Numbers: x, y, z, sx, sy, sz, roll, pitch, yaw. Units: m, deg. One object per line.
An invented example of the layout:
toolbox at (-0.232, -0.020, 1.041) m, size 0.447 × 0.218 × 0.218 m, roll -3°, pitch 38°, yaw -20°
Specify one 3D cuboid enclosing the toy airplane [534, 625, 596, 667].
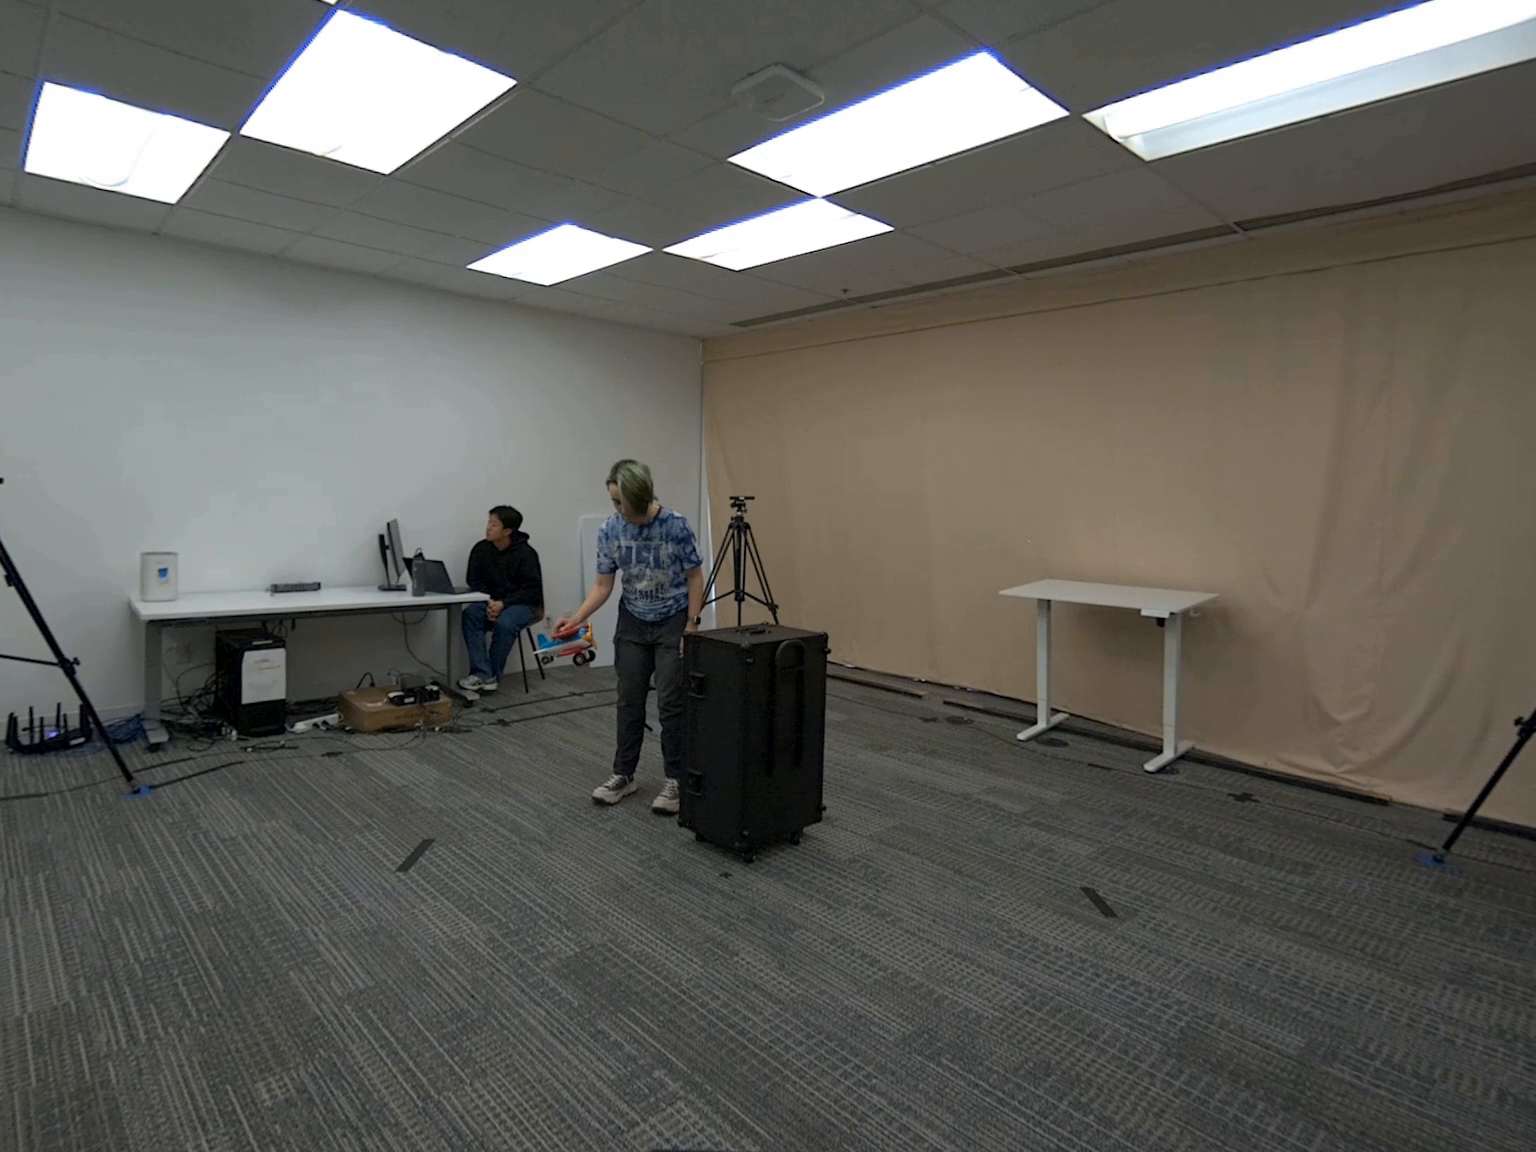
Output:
toy airplane at (-0.858, 0.300, 3.532) m, size 0.257 × 0.156 × 0.254 m, roll -3°, pitch 5°, yaw -12°
